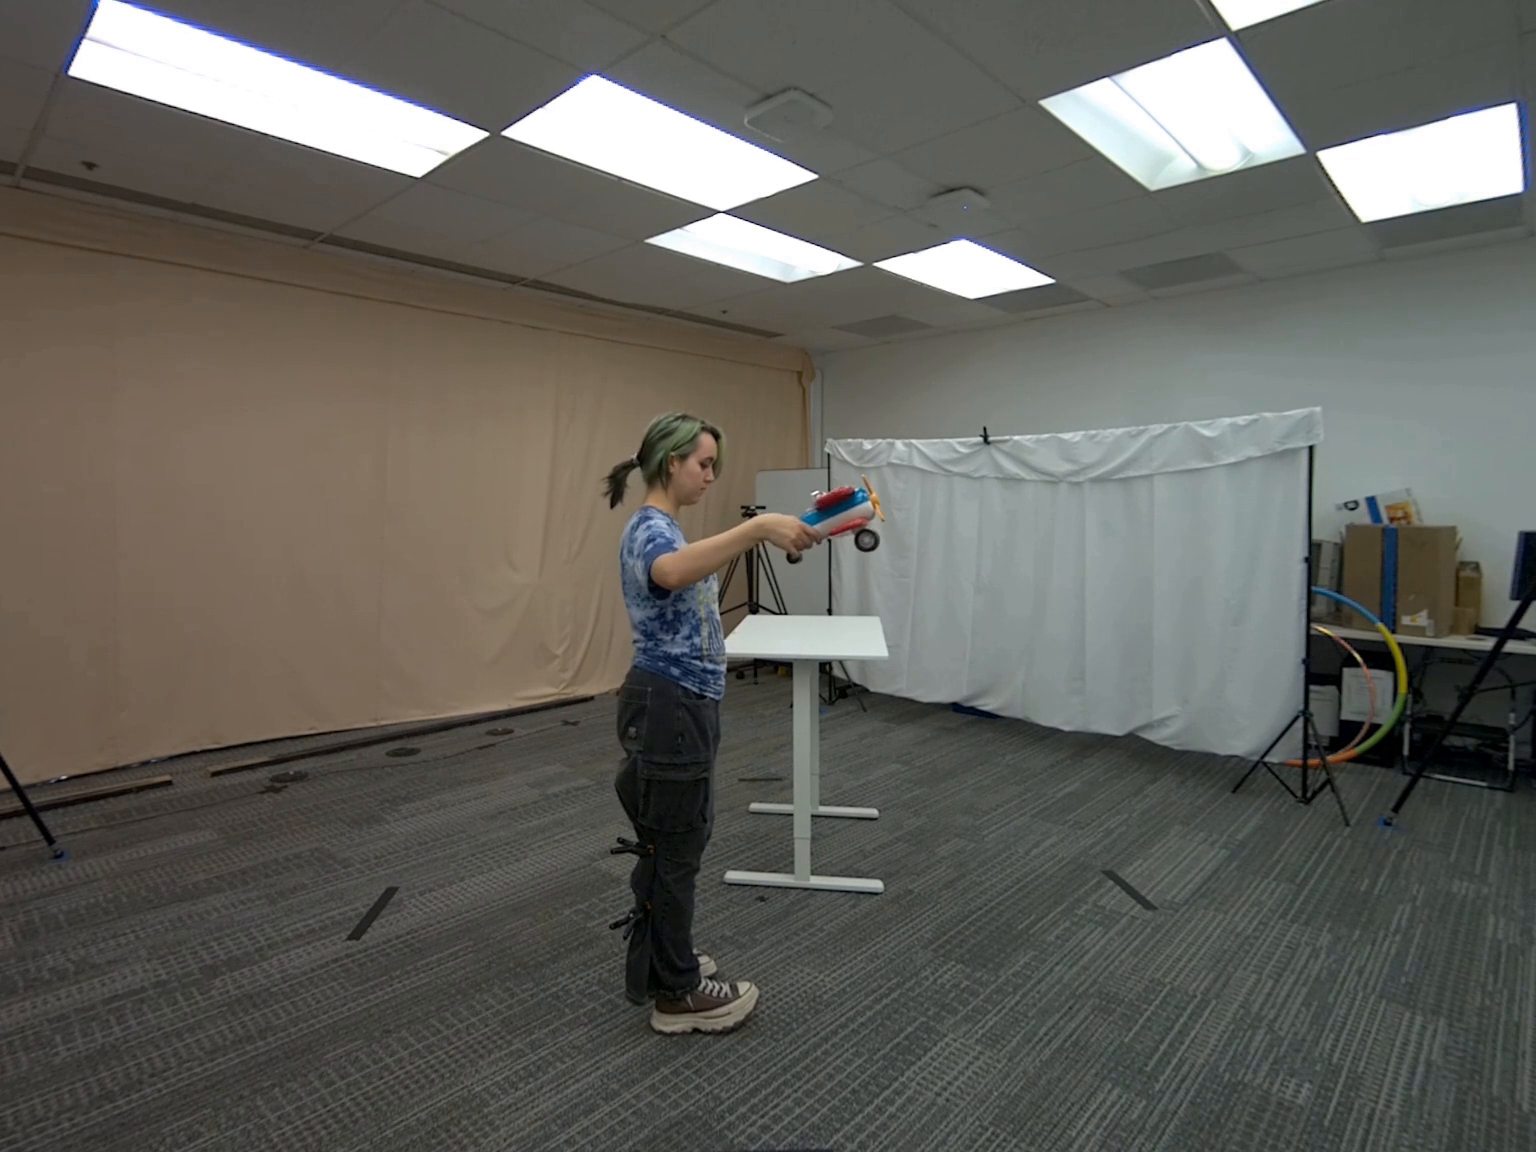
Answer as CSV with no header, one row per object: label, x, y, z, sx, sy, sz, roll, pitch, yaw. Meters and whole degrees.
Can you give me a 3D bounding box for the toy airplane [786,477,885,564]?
toy airplane,0.144,-0.118,1.961,0.255,0.156,0.254,-10,-1,-16
